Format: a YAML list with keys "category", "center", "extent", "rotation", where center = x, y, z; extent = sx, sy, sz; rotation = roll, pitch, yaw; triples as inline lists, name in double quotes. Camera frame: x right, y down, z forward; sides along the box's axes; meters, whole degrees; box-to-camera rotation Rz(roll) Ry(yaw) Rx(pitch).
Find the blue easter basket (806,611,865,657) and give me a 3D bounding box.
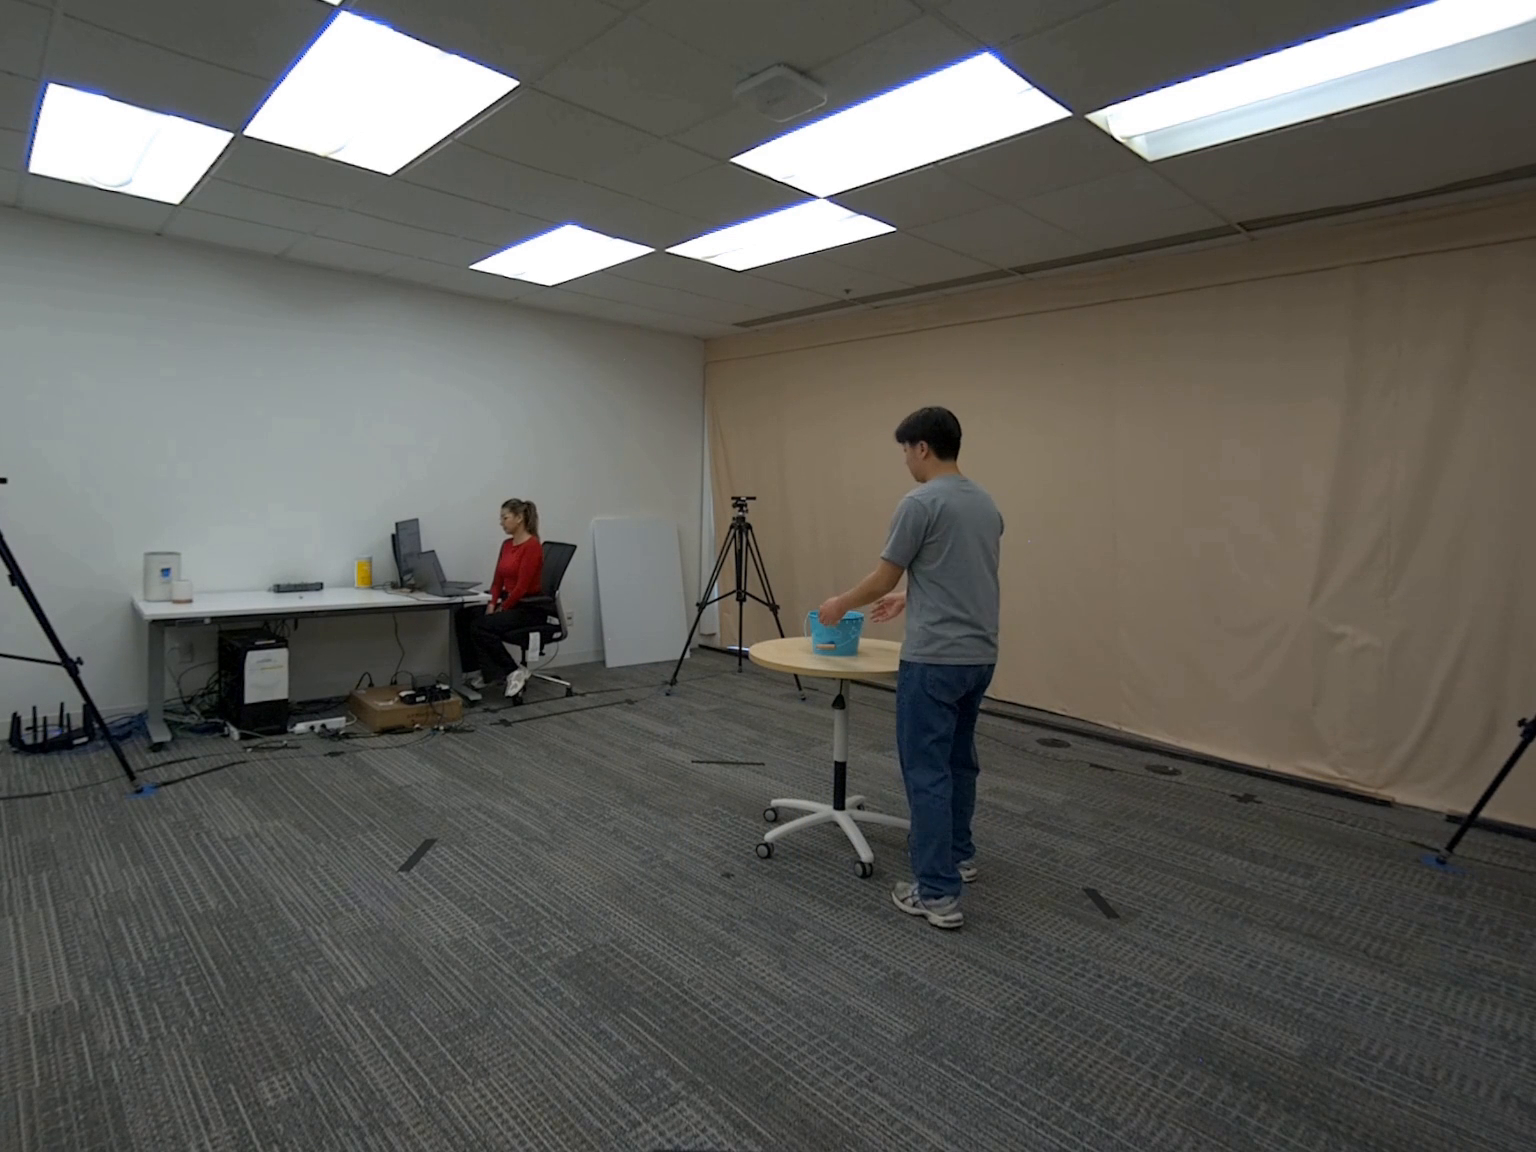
- category: "blue easter basket"
  center: [0.263, 0.233, 3.409]
  extent: [0.243, 0.155, 0.244]
  rotation: [2, 4, -2]
